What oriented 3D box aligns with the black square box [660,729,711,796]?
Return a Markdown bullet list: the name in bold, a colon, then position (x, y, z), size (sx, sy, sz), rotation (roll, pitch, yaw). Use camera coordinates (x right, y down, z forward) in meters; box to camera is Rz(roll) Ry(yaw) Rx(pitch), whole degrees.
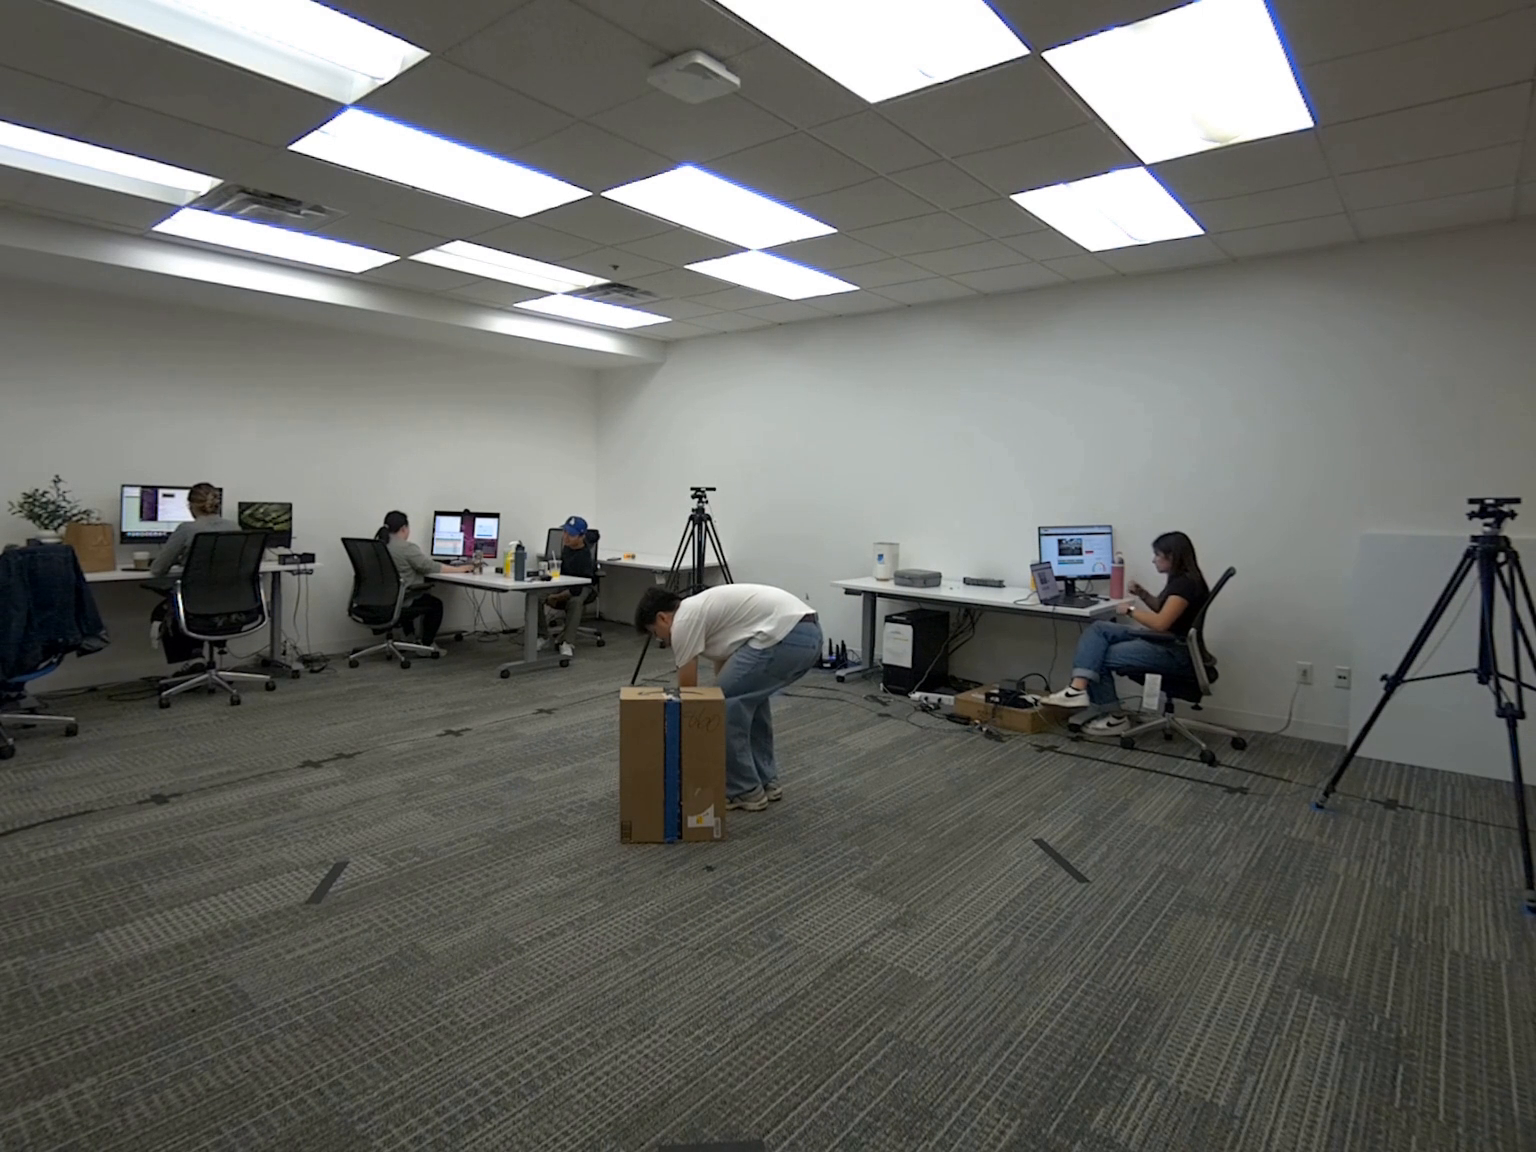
- **black square box**: position (-0.384, 0.859, 3.908), size (0.159, 0.227, 0.213), rotation (2, 4, 20)
